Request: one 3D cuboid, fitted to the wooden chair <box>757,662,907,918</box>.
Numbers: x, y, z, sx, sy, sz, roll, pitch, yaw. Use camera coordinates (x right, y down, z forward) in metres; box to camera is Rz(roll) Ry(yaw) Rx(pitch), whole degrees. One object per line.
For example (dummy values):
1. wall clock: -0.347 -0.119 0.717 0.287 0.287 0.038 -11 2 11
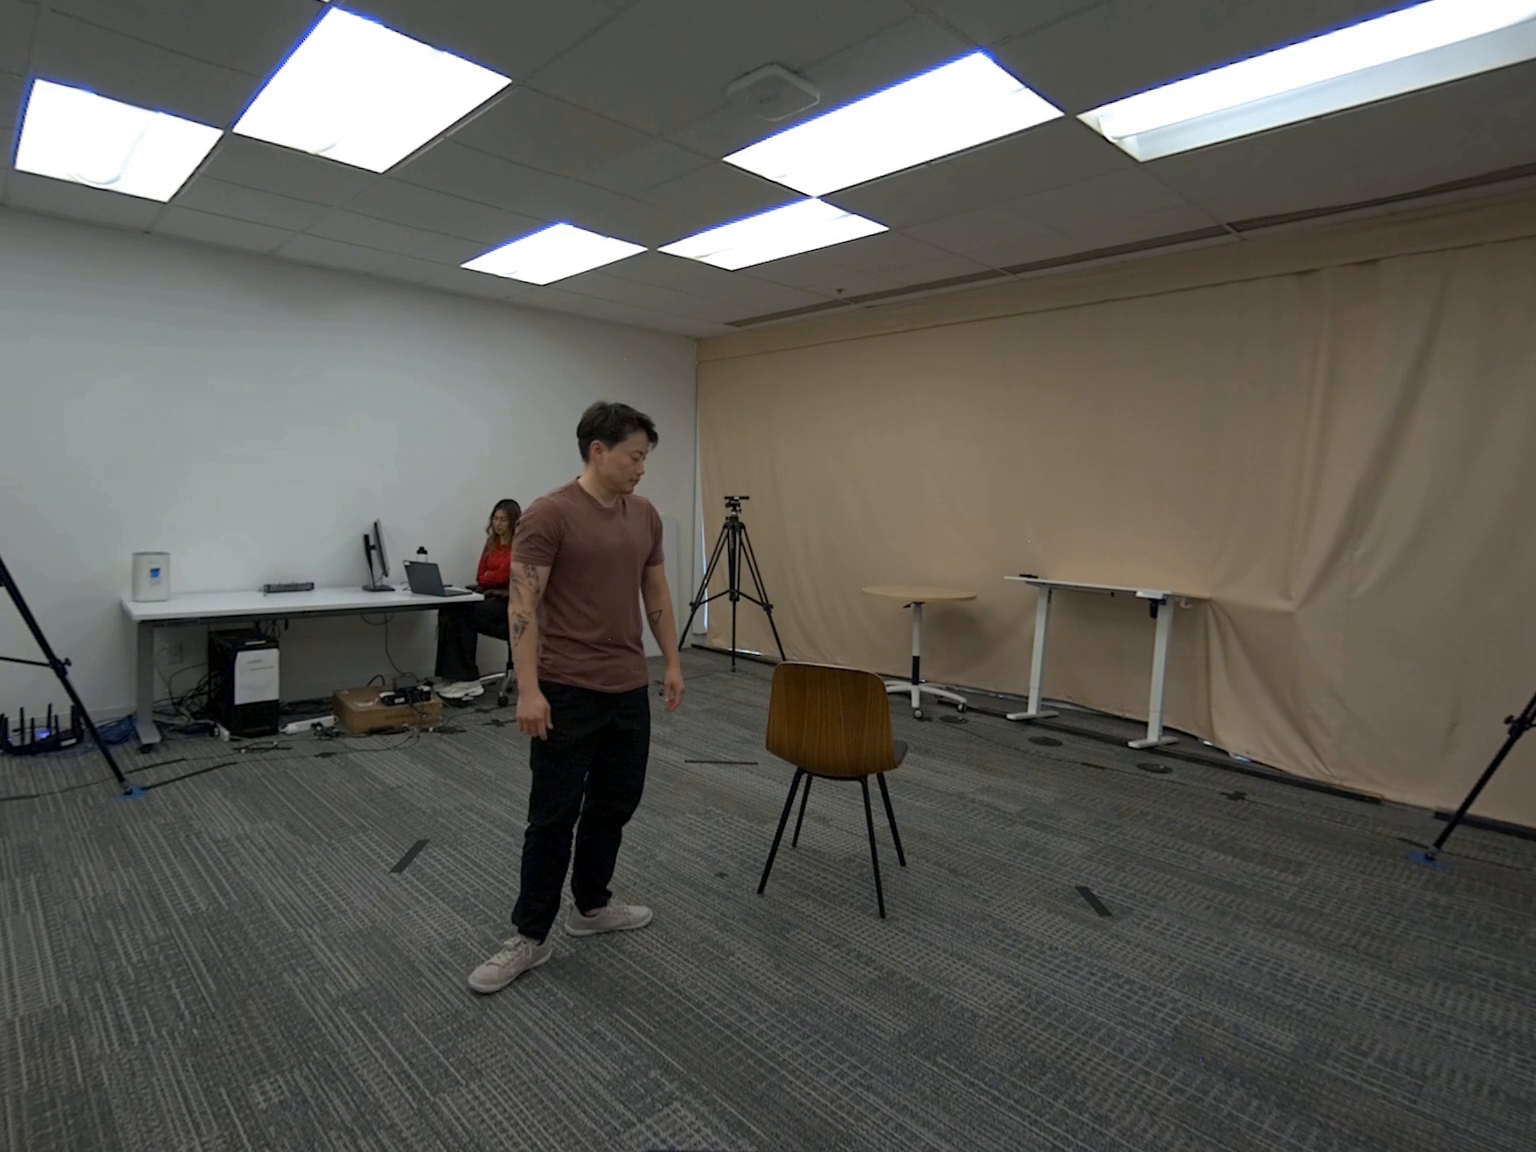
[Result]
1. wooden chair: 0.250 0.687 3.074 0.486 0.873 0.517 3 7 20
